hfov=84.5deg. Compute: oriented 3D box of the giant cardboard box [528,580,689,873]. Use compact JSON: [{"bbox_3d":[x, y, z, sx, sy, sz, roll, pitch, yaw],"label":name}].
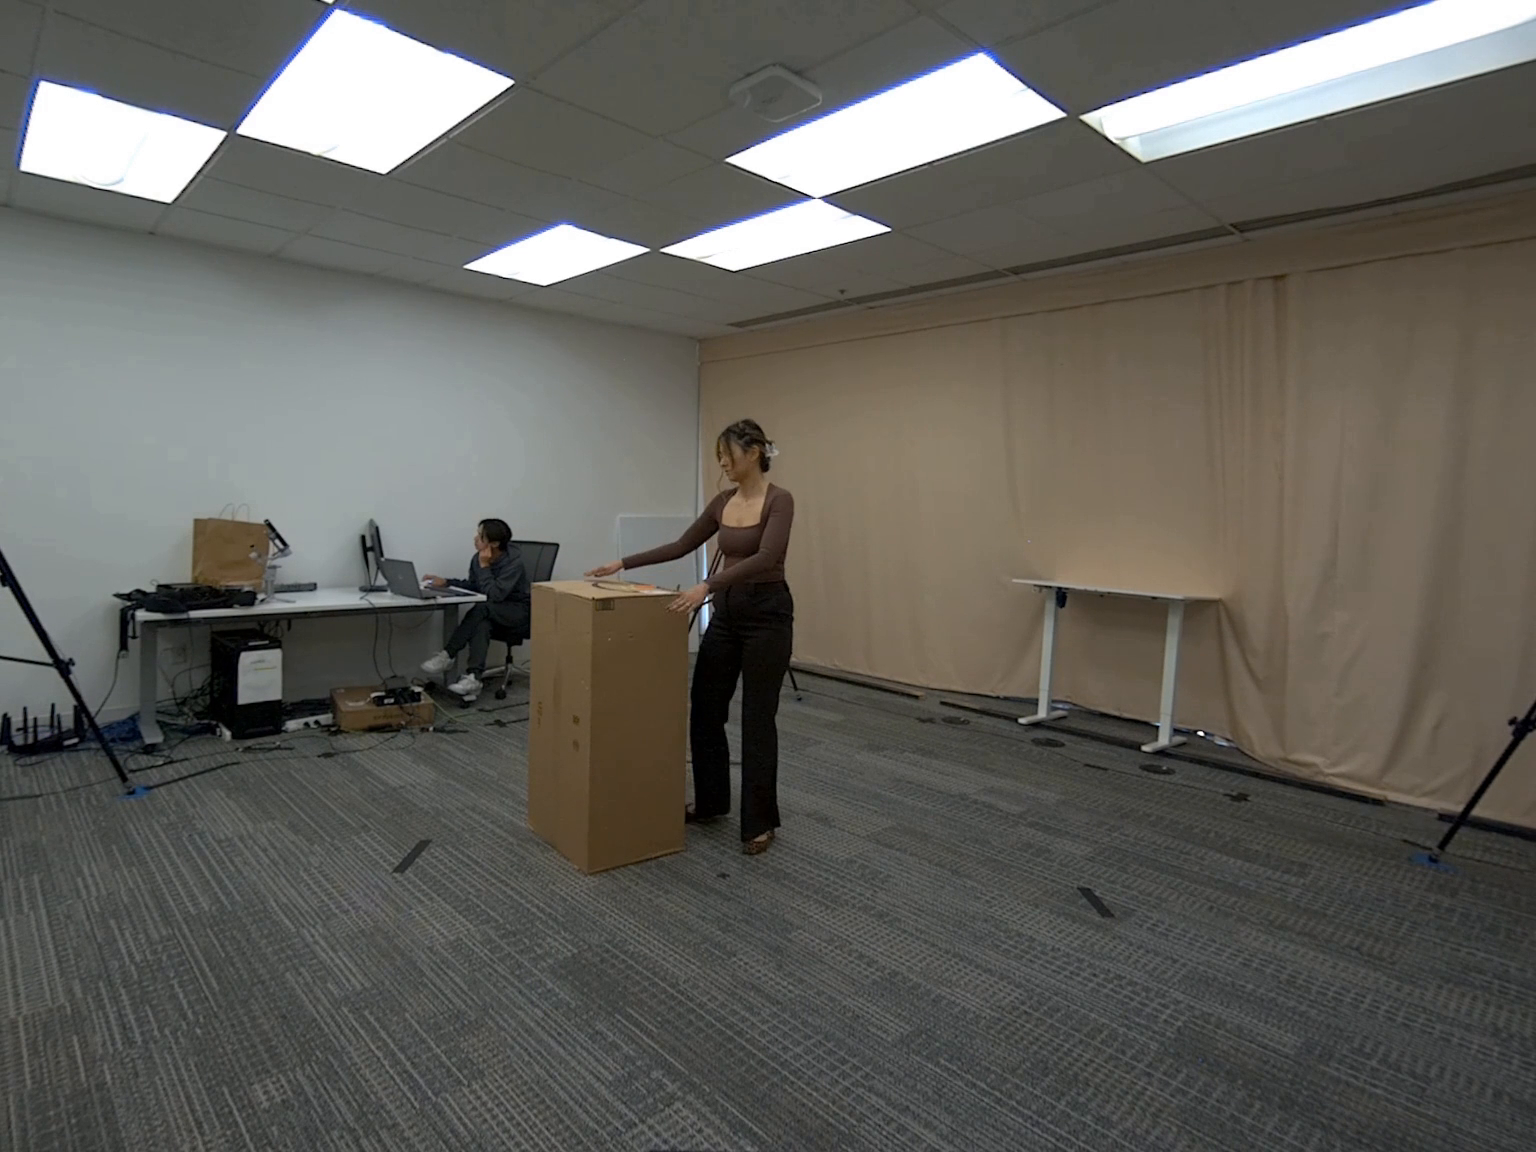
[{"bbox_3d":[-0.662,0.557,3.404,0.437,1.025,0.598,1,3,-36],"label":"giant cardboard box"}]
